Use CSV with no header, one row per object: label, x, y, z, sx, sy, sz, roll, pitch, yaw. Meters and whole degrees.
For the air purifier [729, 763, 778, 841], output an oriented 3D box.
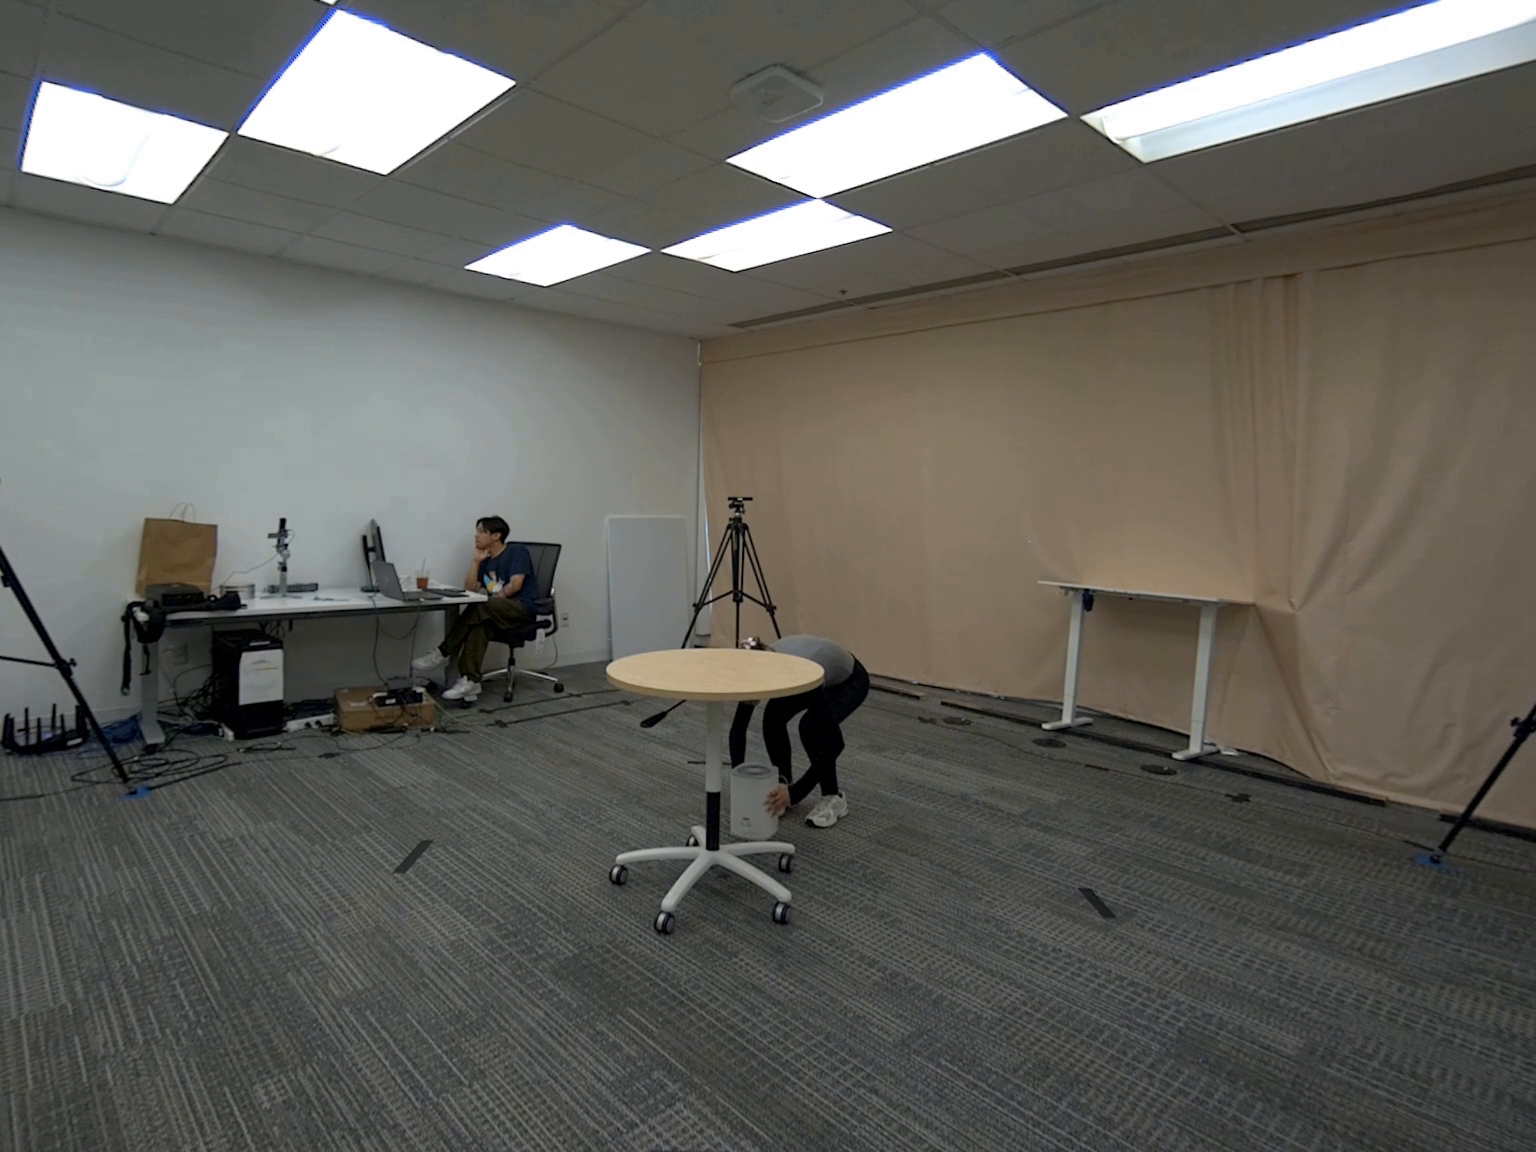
air purifier,-0.069,0.908,3.374,0.174,0.264,0.169,1,5,23
